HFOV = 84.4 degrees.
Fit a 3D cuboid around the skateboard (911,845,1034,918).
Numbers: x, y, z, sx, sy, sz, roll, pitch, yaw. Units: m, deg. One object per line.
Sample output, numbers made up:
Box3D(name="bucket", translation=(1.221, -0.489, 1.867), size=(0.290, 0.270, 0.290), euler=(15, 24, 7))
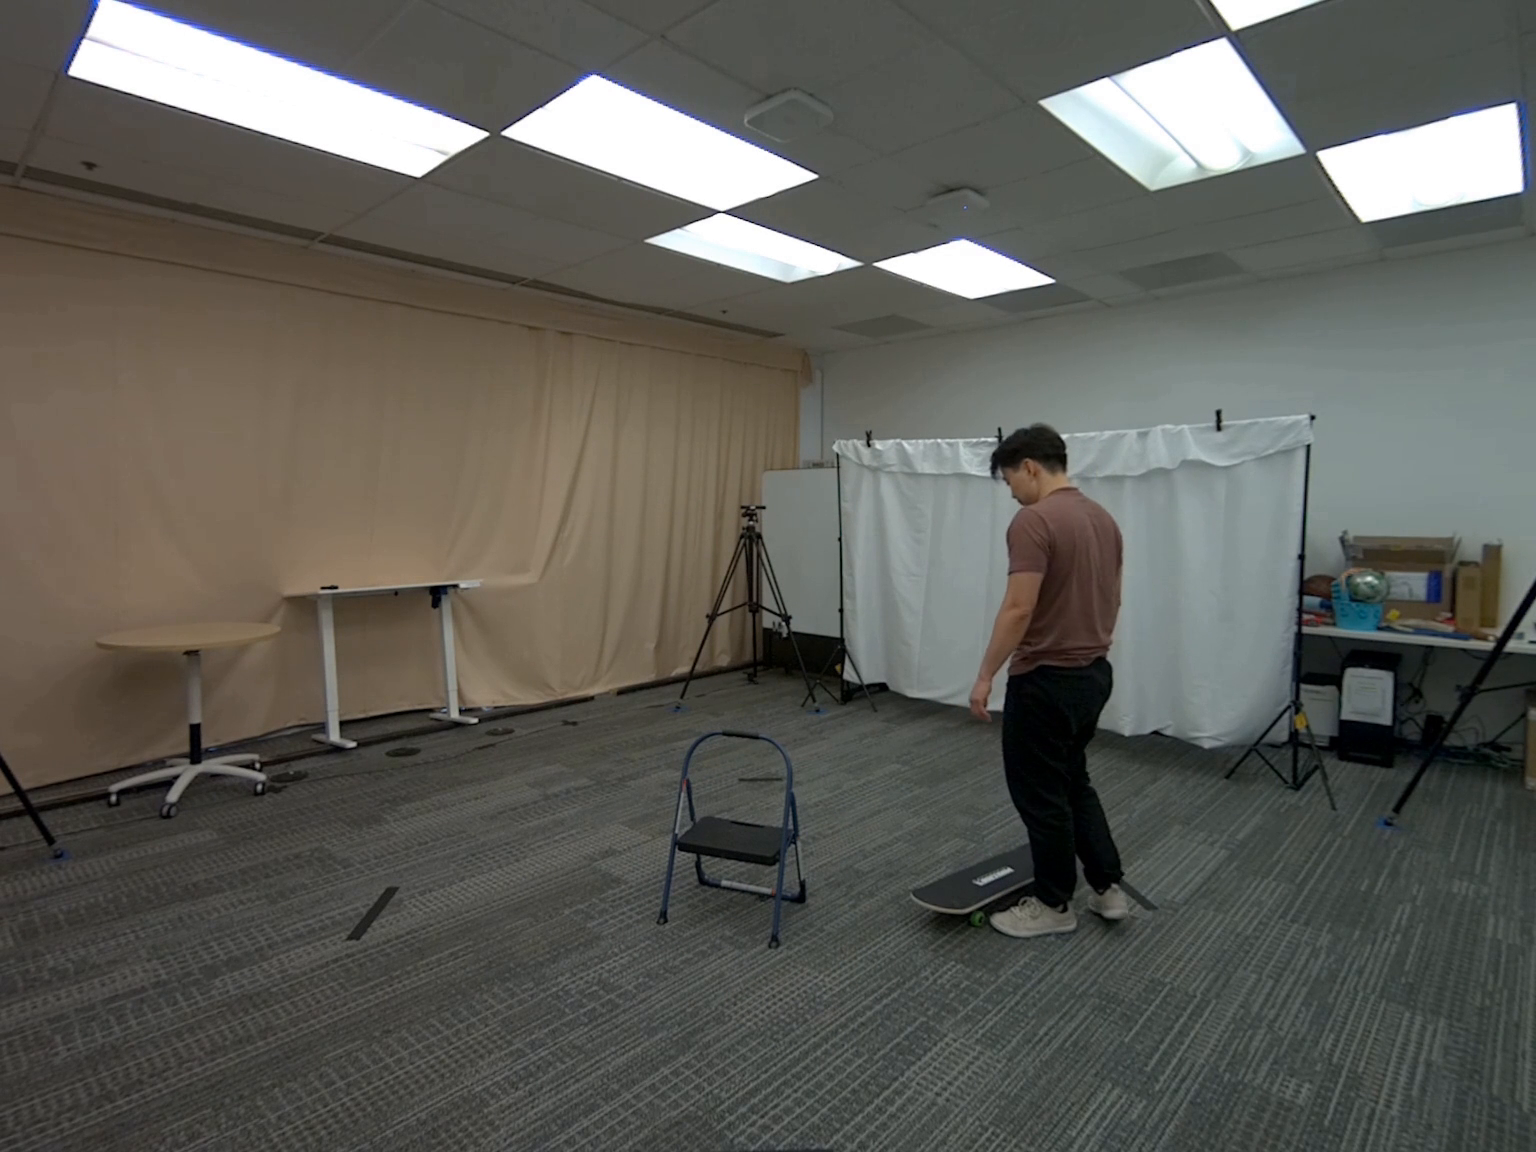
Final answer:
Box3D(name="skateboard", translation=(0.800, 1.094, 2.953), size=(0.762, 0.110, 0.200), euler=(-3, 6, -38))
